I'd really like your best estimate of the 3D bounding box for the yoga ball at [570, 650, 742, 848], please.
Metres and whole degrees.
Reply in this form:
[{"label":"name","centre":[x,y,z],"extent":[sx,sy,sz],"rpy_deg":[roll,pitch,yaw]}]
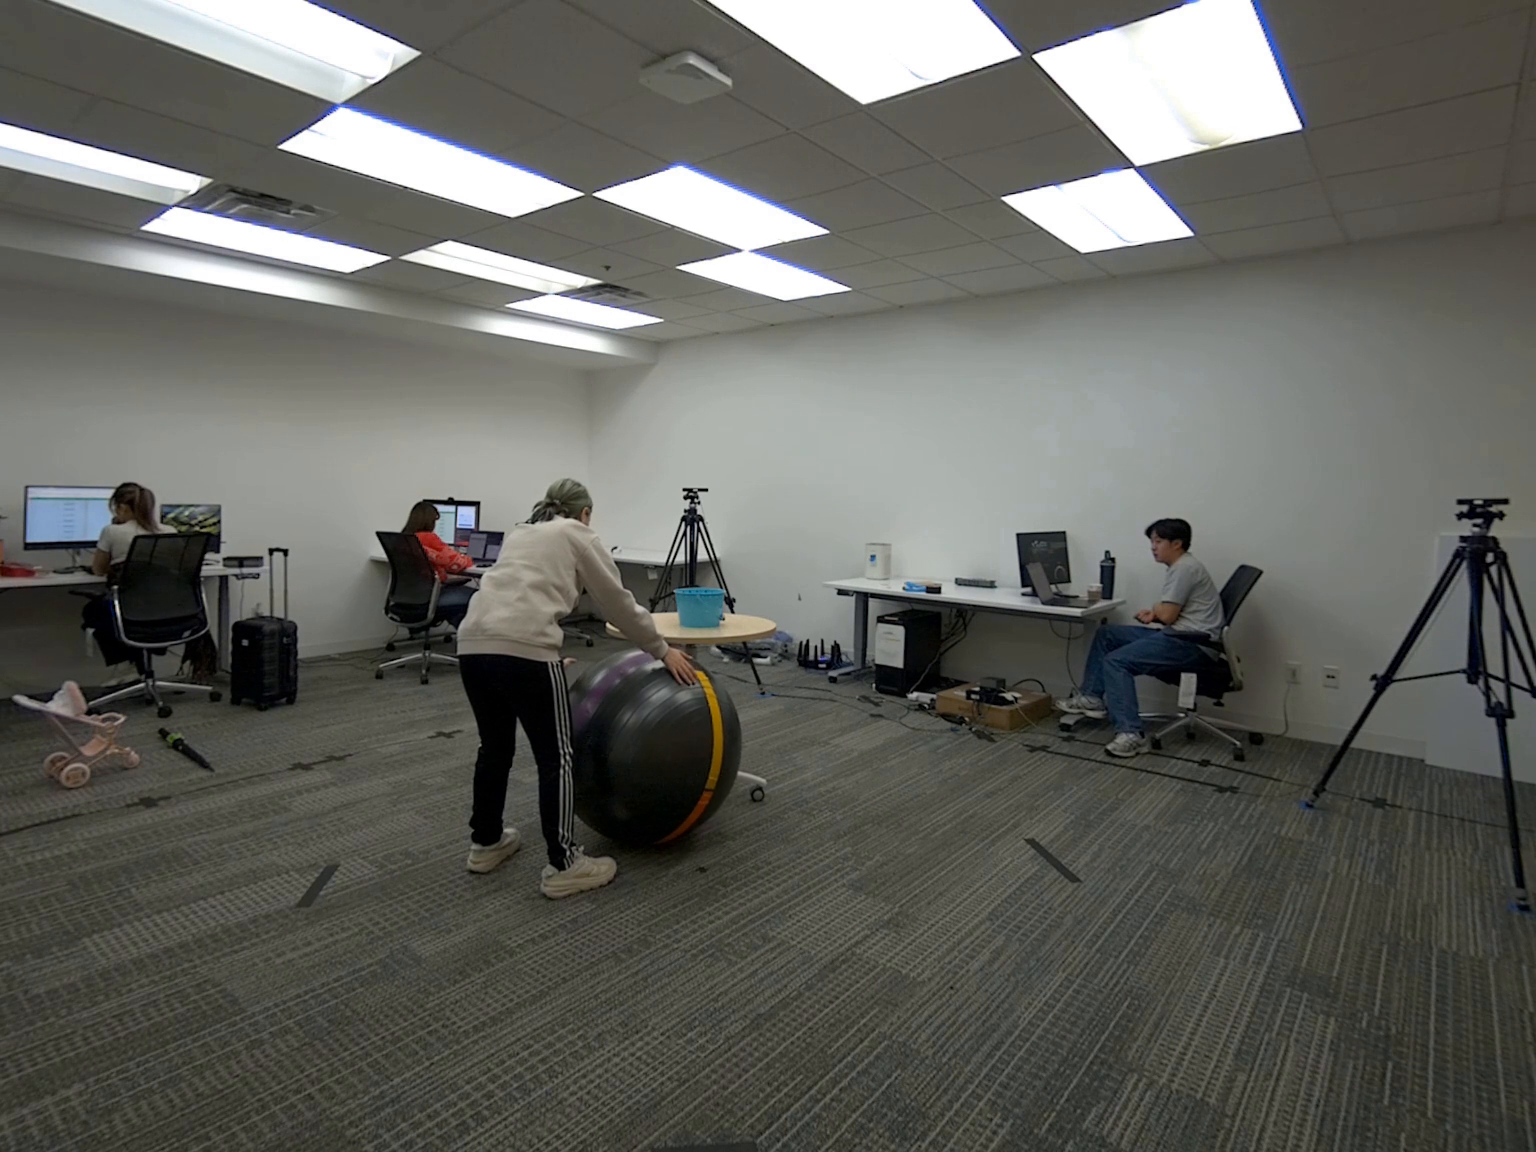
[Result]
[{"label":"yoga ball","centre":[-0.497,0.668,3.381],"extent":[0.757,0.756,0.761],"rpy_deg":[1,4,-2]}]
